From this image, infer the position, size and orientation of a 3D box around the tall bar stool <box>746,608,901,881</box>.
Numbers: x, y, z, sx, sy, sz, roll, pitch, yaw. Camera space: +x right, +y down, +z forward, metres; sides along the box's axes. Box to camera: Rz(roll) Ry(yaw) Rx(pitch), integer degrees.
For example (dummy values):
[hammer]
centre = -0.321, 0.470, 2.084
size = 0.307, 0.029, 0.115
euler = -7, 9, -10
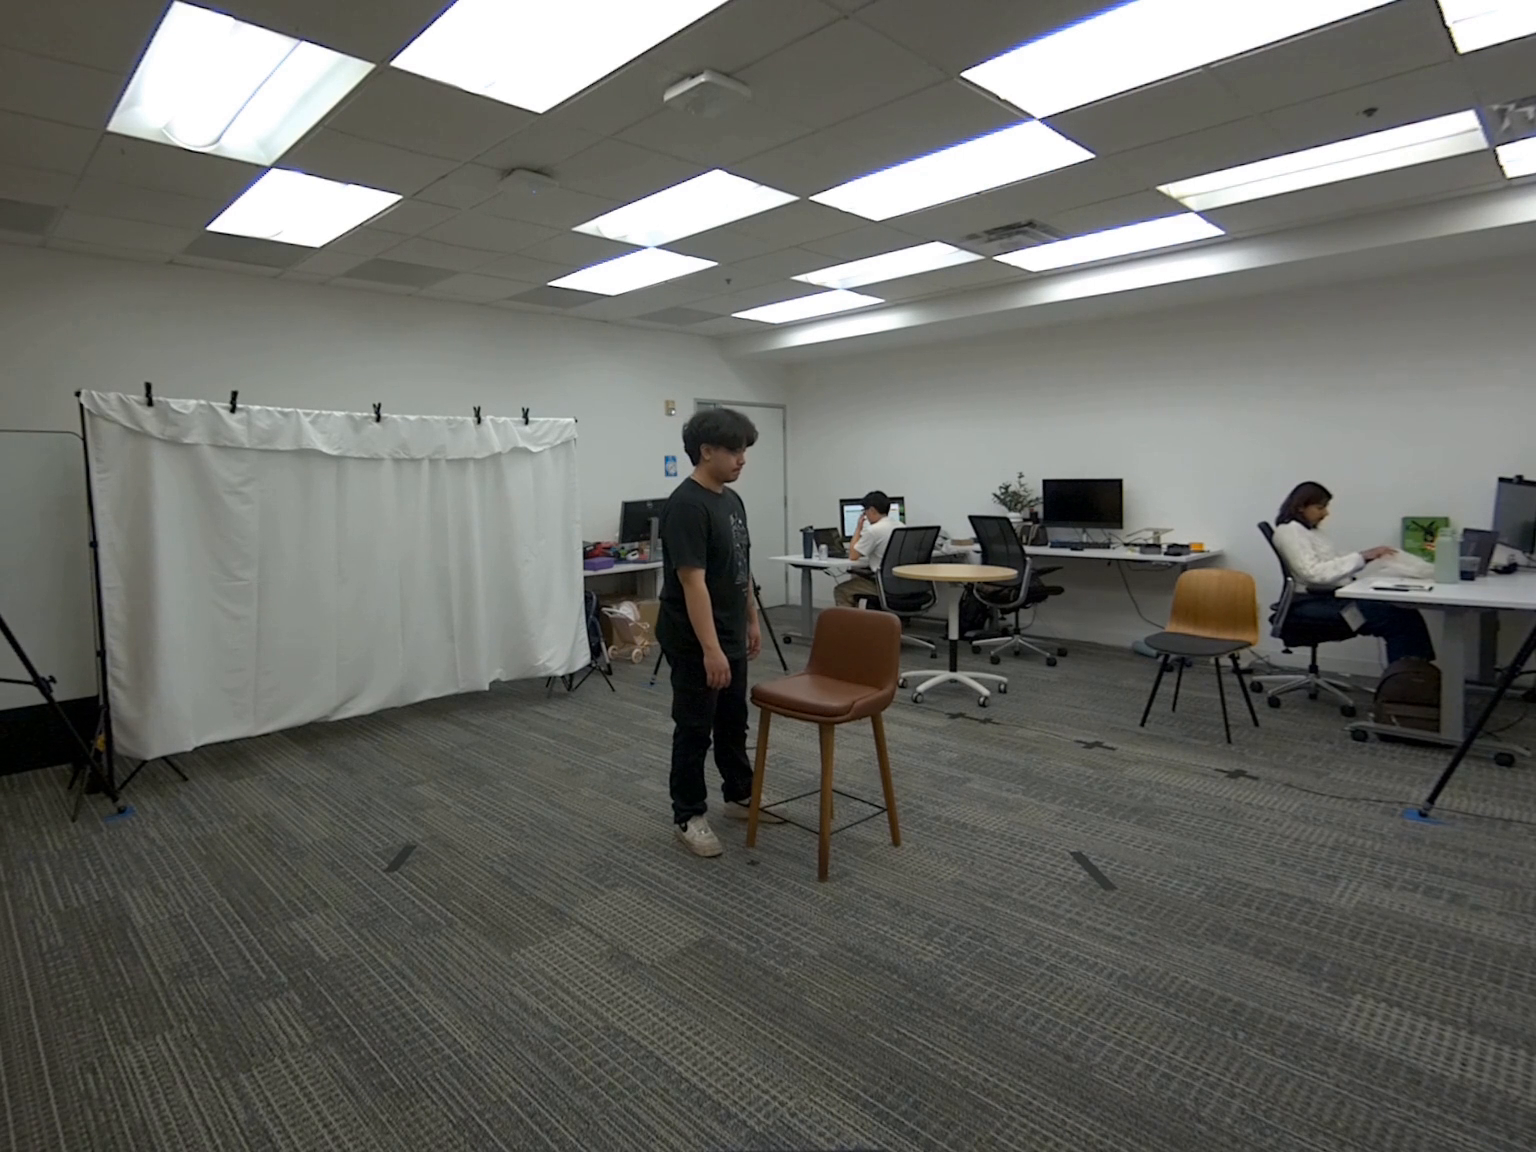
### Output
[tall bar stool]
centre = 0.217, 0.586, 3.213
size = 0.454, 0.888, 0.470
euler = -1, 4, -41
